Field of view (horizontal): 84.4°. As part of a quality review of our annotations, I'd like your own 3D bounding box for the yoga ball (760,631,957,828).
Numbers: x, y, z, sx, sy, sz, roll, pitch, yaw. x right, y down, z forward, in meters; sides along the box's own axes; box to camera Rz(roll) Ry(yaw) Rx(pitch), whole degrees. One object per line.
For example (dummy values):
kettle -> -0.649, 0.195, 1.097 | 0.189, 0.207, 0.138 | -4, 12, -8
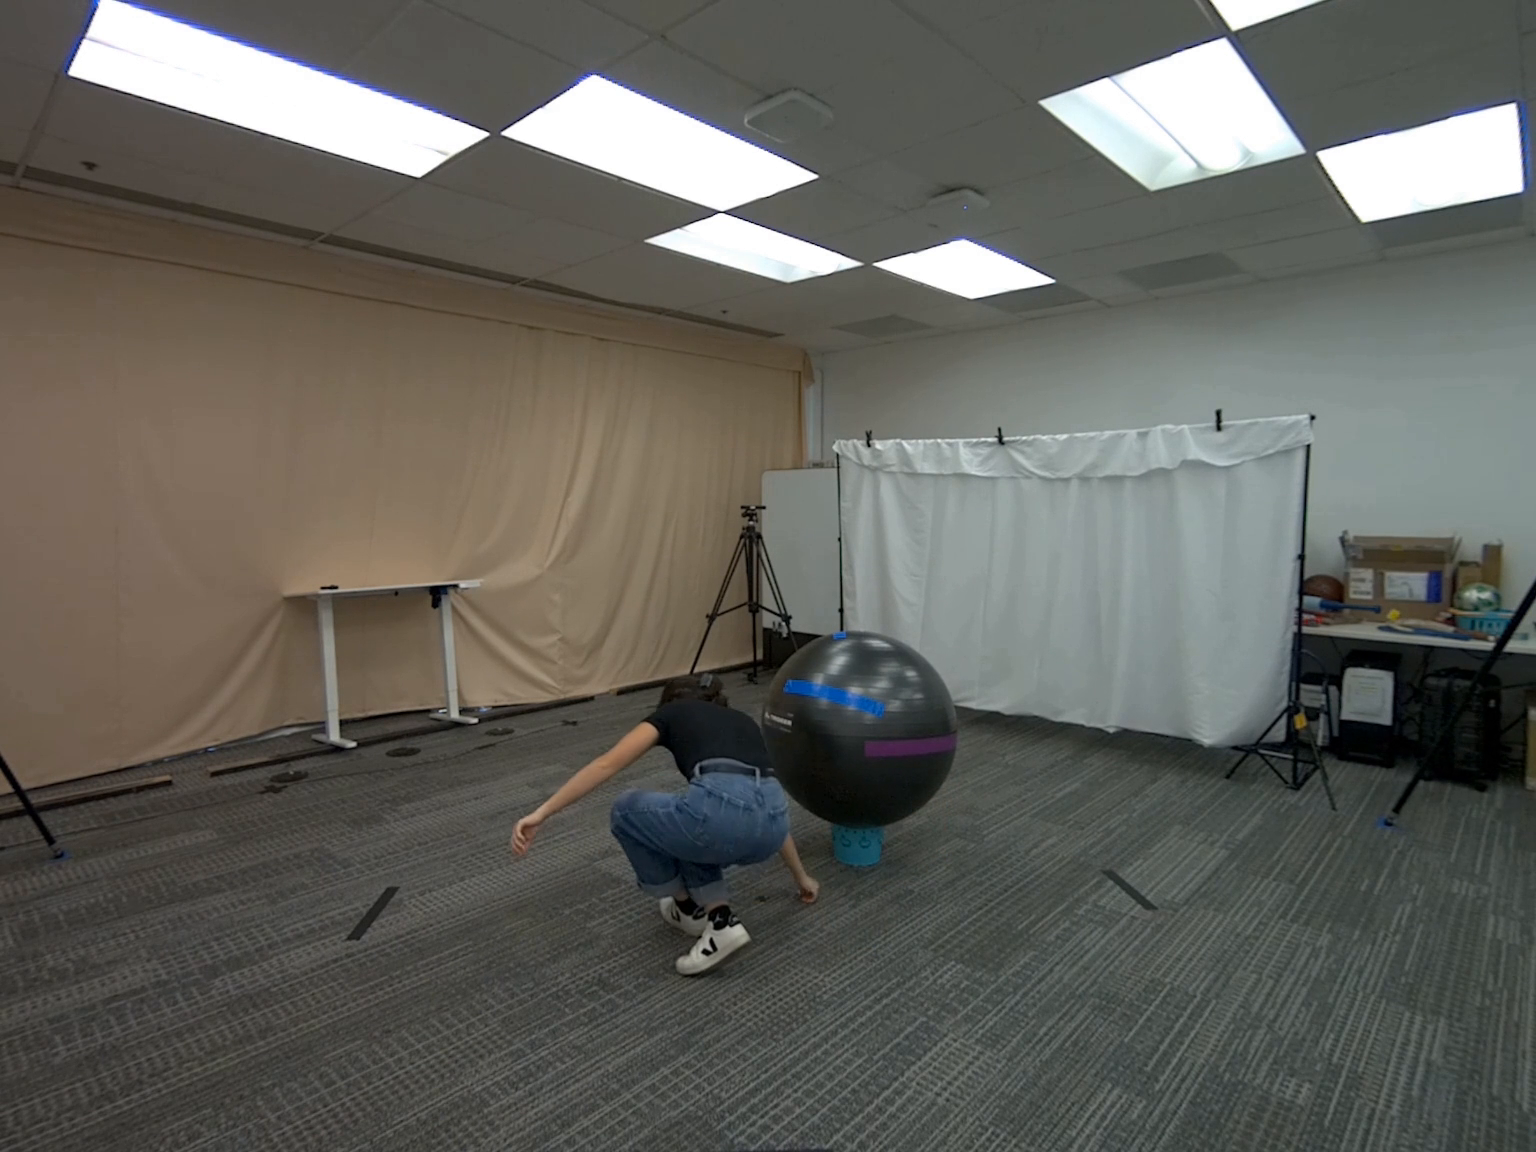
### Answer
yoga ball -> 0.360, 0.600, 3.334 | 0.757, 0.756, 0.761 | 0, 4, -2
